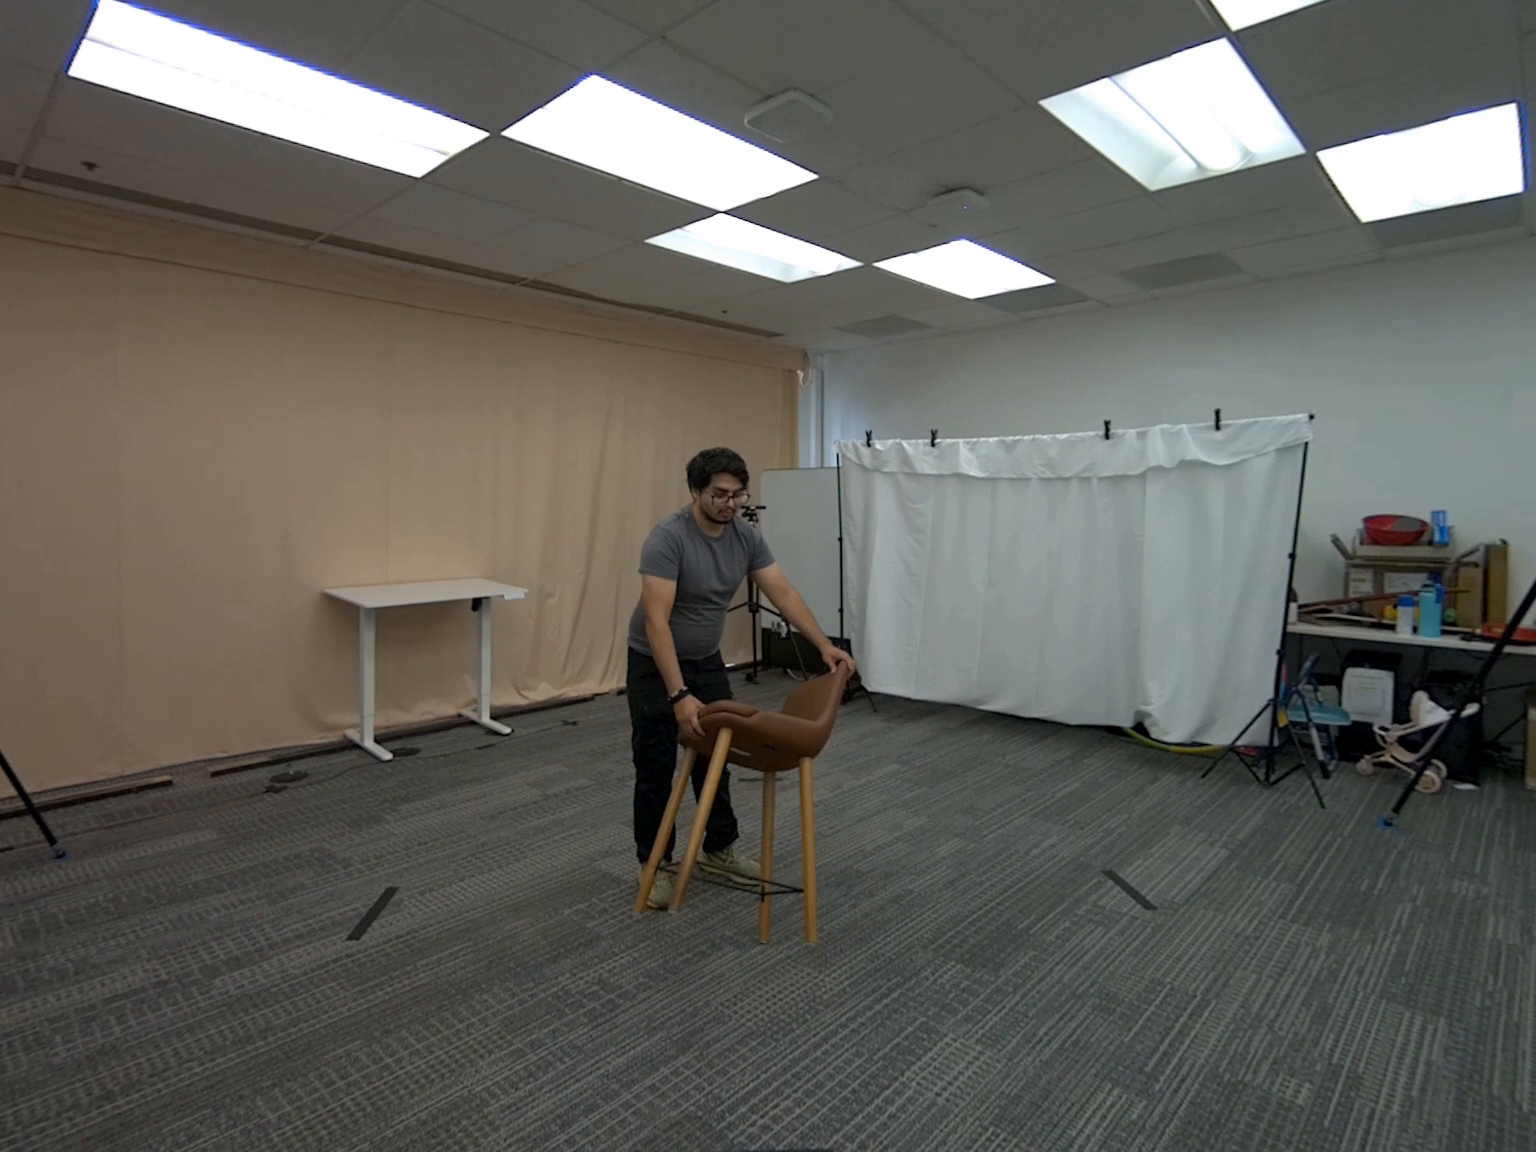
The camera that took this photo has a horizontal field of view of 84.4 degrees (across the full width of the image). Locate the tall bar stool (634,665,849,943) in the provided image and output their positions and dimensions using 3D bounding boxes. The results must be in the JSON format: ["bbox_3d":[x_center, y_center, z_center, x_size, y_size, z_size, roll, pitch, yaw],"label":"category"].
[{"bbox_3d":[-0.057,0.661,2.672,0.459,0.898,0.460,20,-28,-16],"label":"tall bar stool"}]
